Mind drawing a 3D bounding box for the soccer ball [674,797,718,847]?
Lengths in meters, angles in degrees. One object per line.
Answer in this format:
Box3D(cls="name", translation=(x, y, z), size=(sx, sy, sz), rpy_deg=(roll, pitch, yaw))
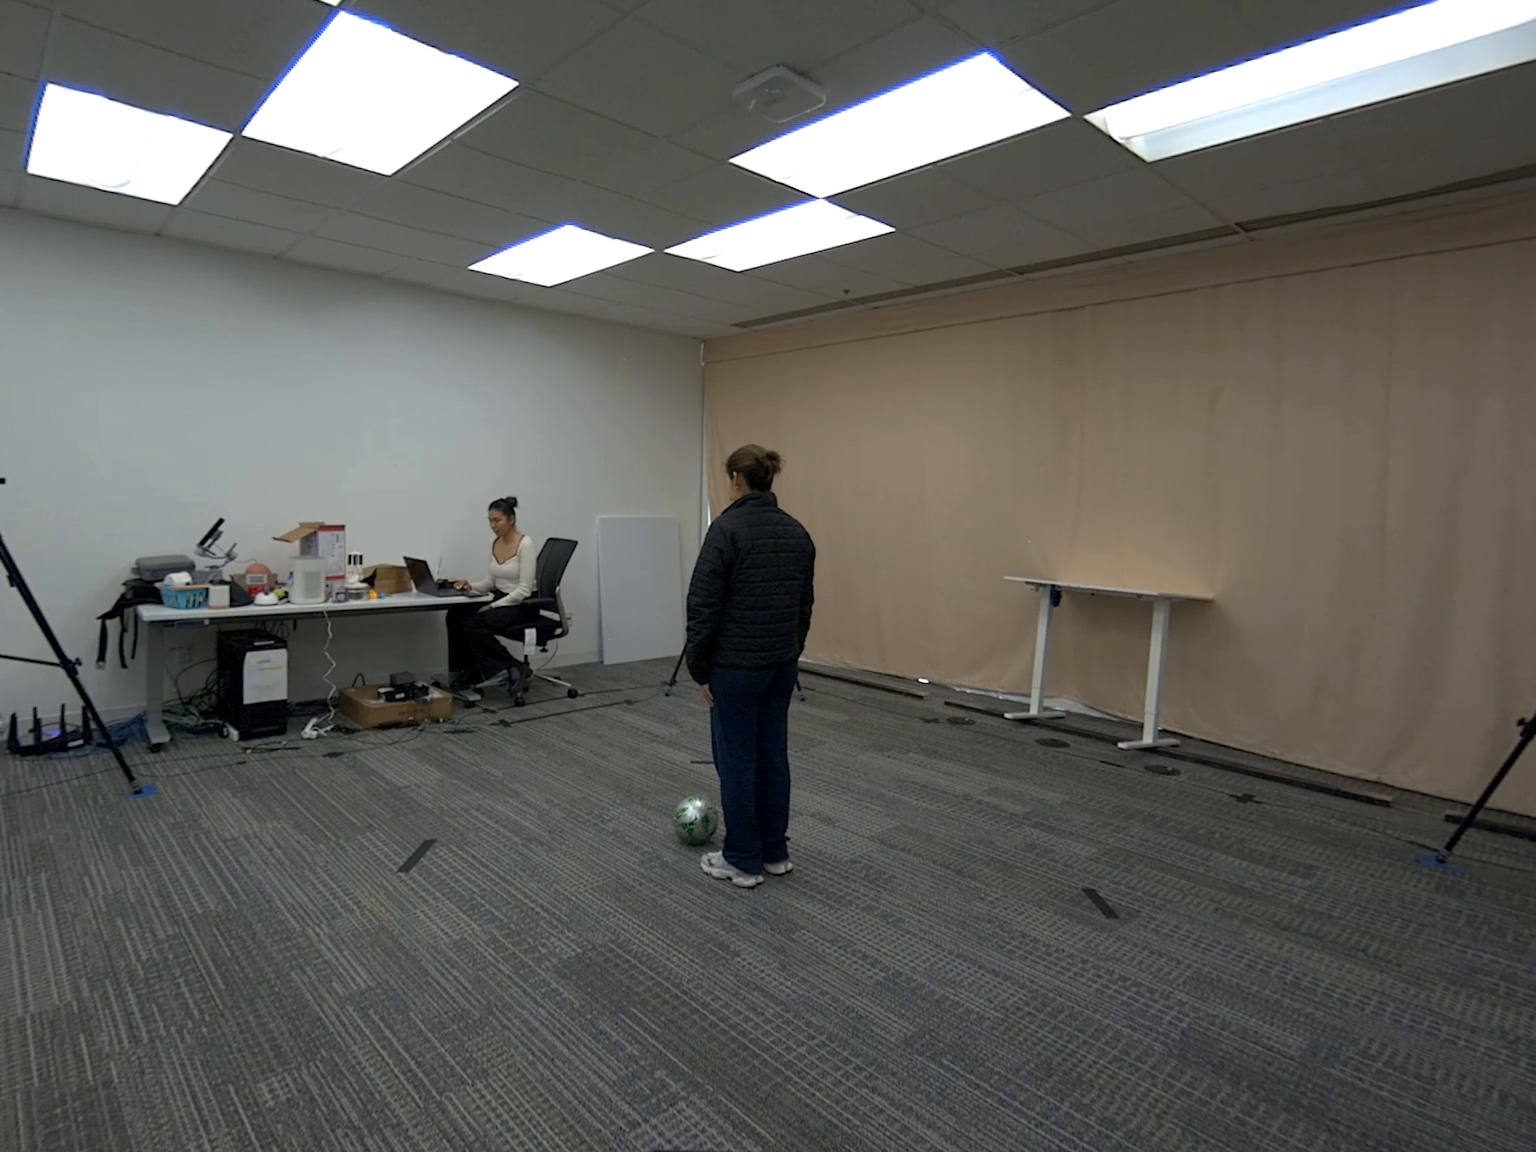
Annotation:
Box3D(cls="soccer ball", translation=(-0.301, 0.981, 3.396), size=(0.187, 0.187, 0.188), rpy_deg=(1, 4, -1))
